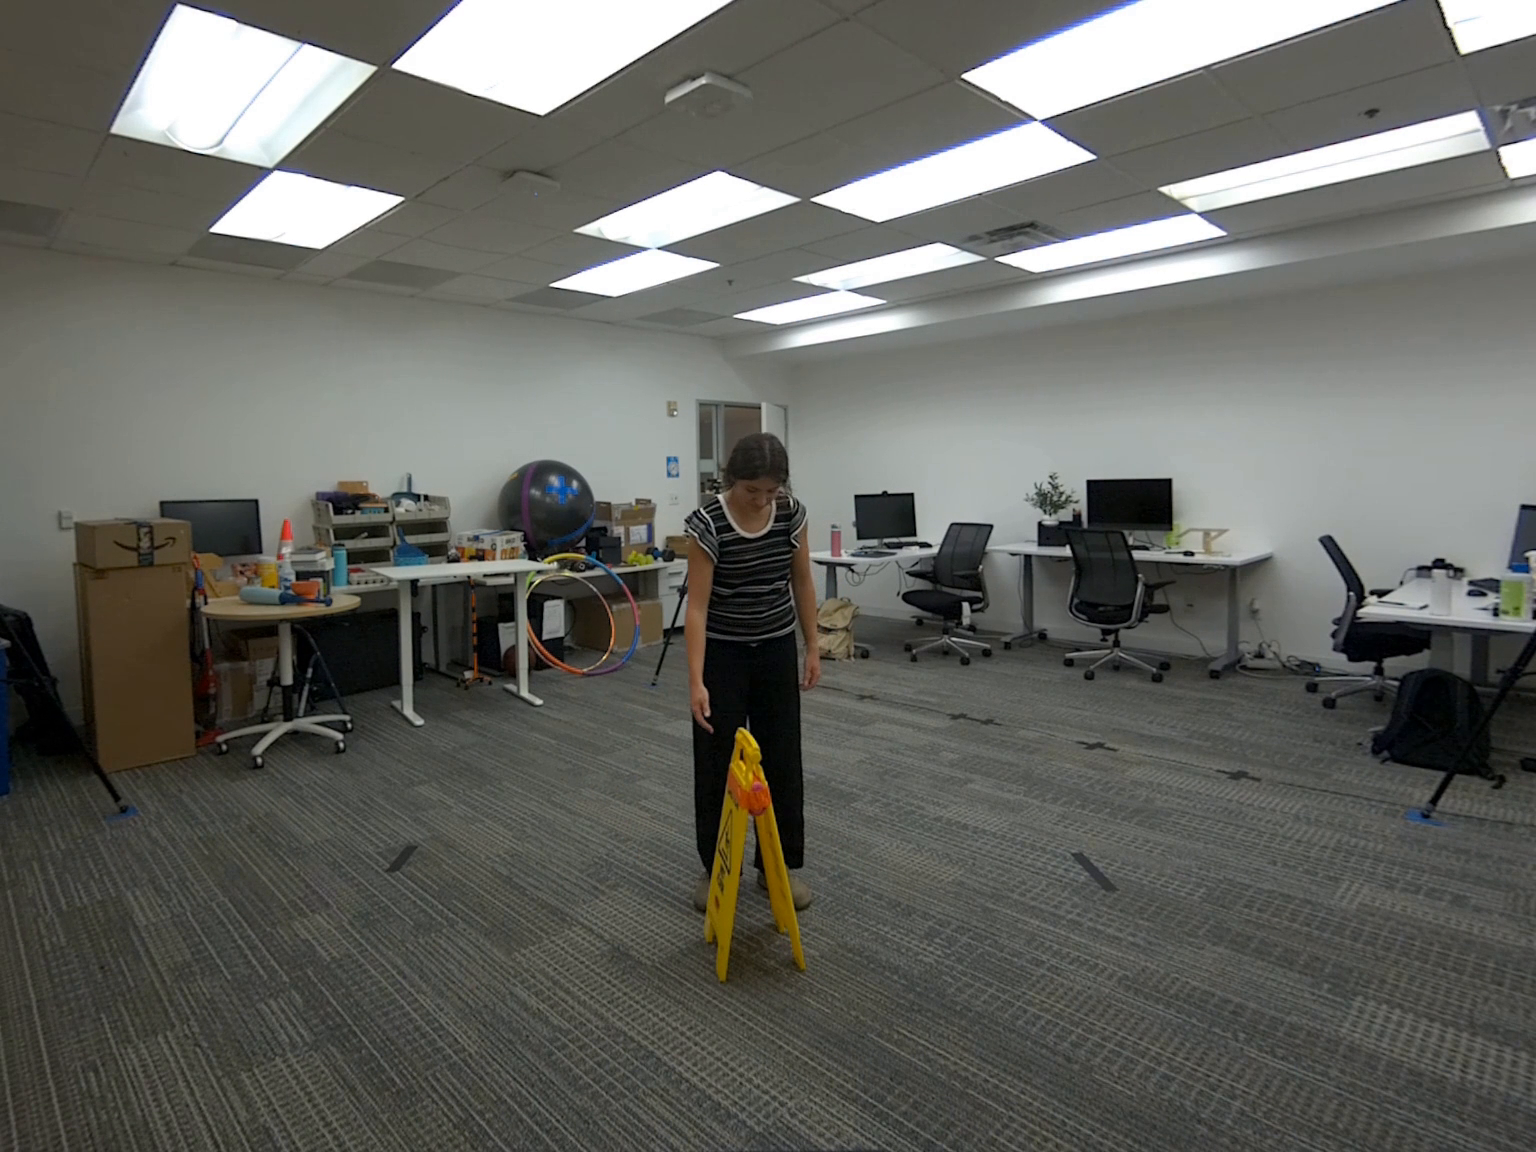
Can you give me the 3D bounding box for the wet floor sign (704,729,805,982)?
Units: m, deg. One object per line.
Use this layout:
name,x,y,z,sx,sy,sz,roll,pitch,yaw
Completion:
wet floor sign,-0.056,0.793,2.506,0.287,0.643,0.286,-3,4,-12
